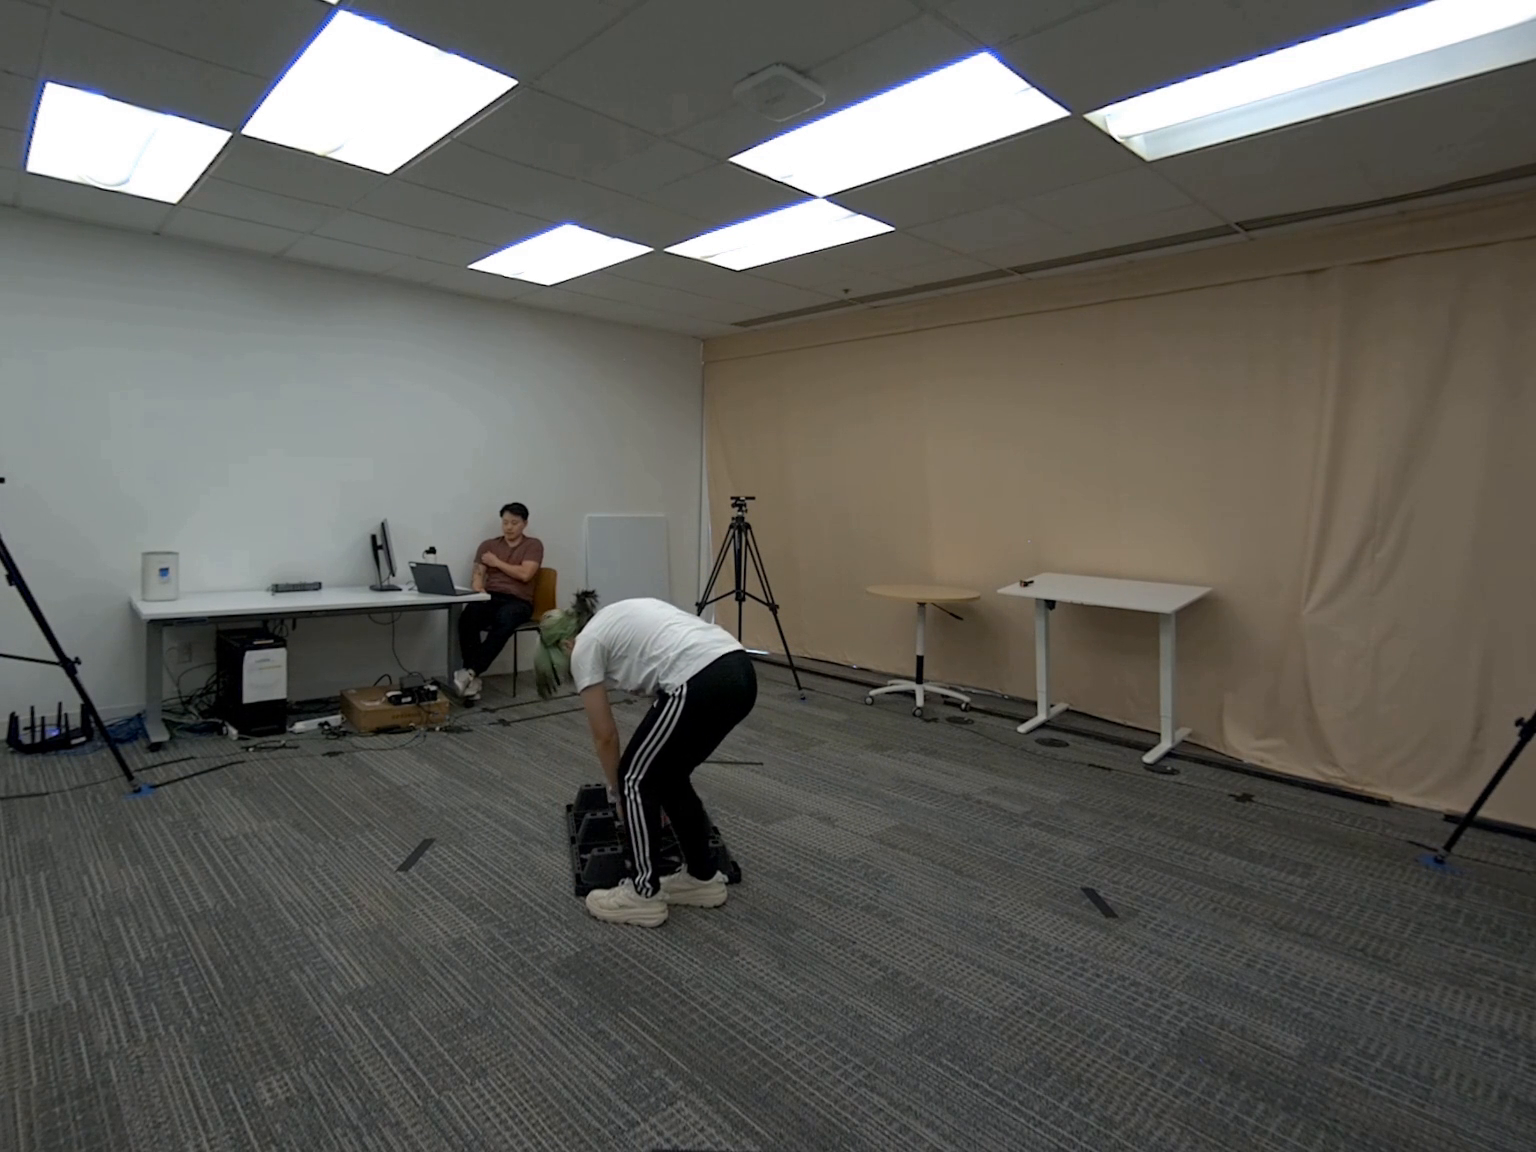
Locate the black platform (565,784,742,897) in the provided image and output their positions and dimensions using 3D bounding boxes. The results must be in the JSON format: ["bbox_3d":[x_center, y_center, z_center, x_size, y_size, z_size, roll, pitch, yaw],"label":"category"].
[{"bbox_3d":[-0.497,1.003,3.352,0.598,0.143,0.817,0,5,-16],"label":"black platform"}]
